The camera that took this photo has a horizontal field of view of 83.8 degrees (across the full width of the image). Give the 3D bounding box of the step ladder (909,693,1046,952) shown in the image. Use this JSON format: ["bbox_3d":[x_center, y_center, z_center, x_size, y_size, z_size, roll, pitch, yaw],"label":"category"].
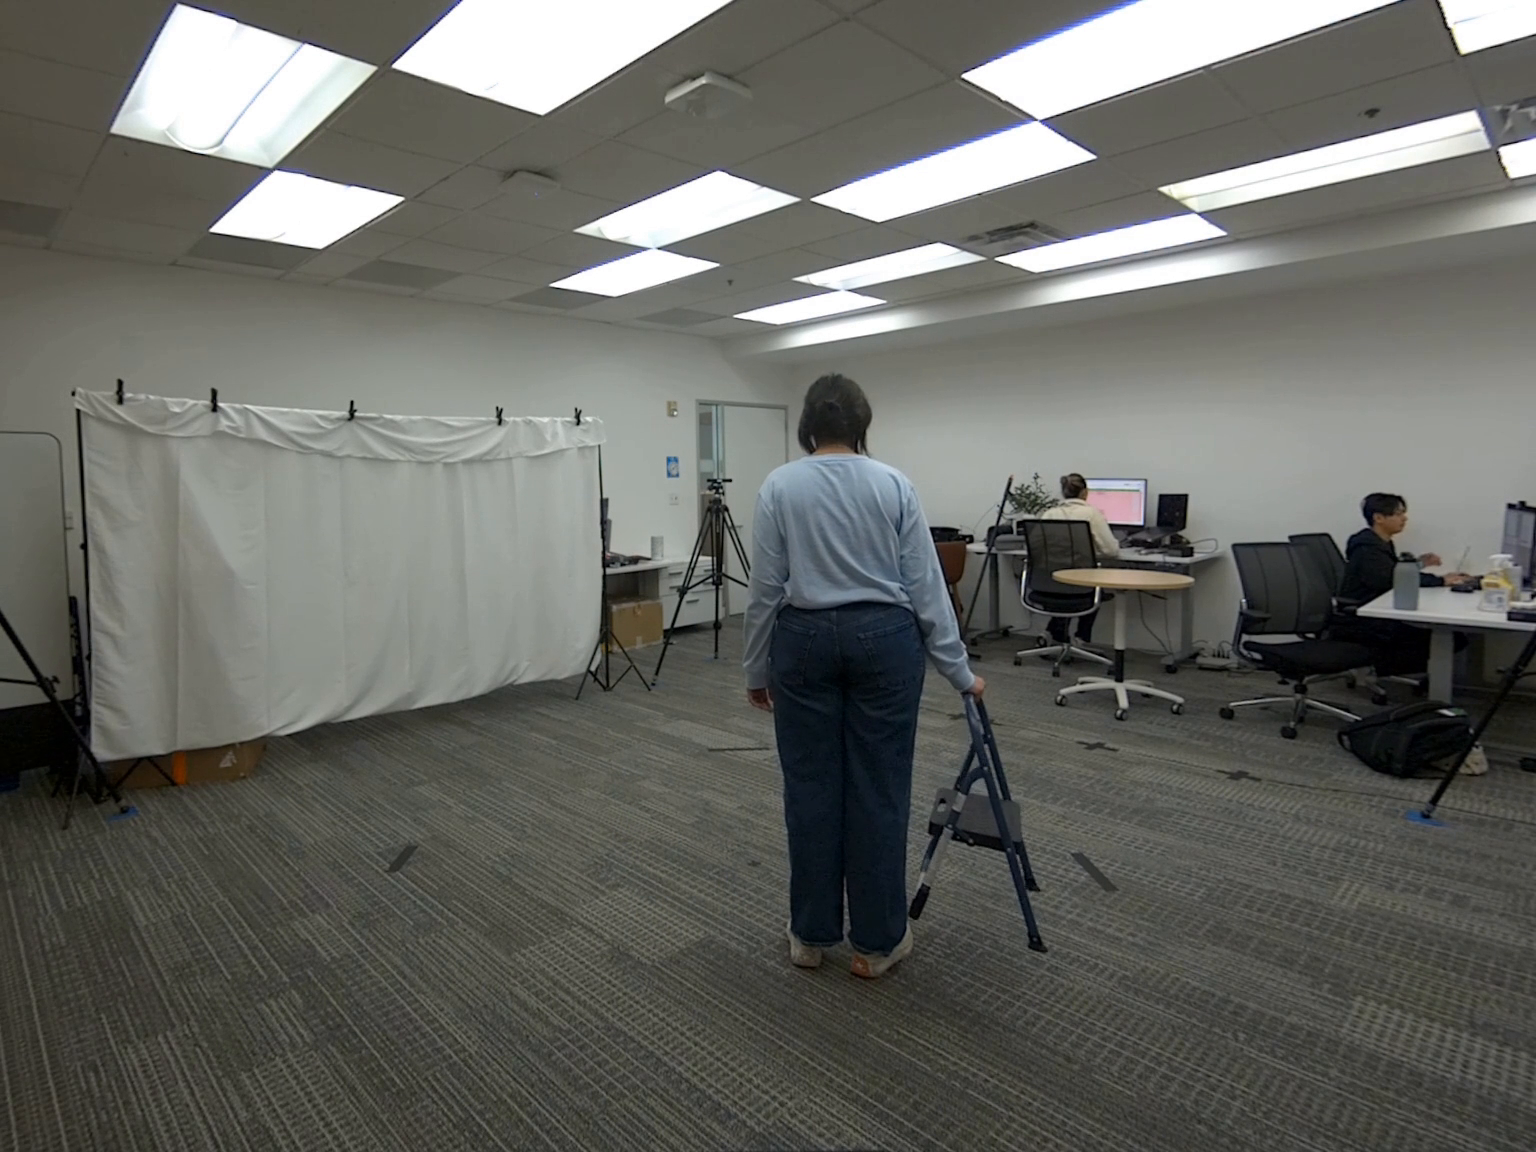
[{"bbox_3d":[0.634,0.639,2.435,0.355,0.605,0.424,6,3,16],"label":"step ladder"}]
